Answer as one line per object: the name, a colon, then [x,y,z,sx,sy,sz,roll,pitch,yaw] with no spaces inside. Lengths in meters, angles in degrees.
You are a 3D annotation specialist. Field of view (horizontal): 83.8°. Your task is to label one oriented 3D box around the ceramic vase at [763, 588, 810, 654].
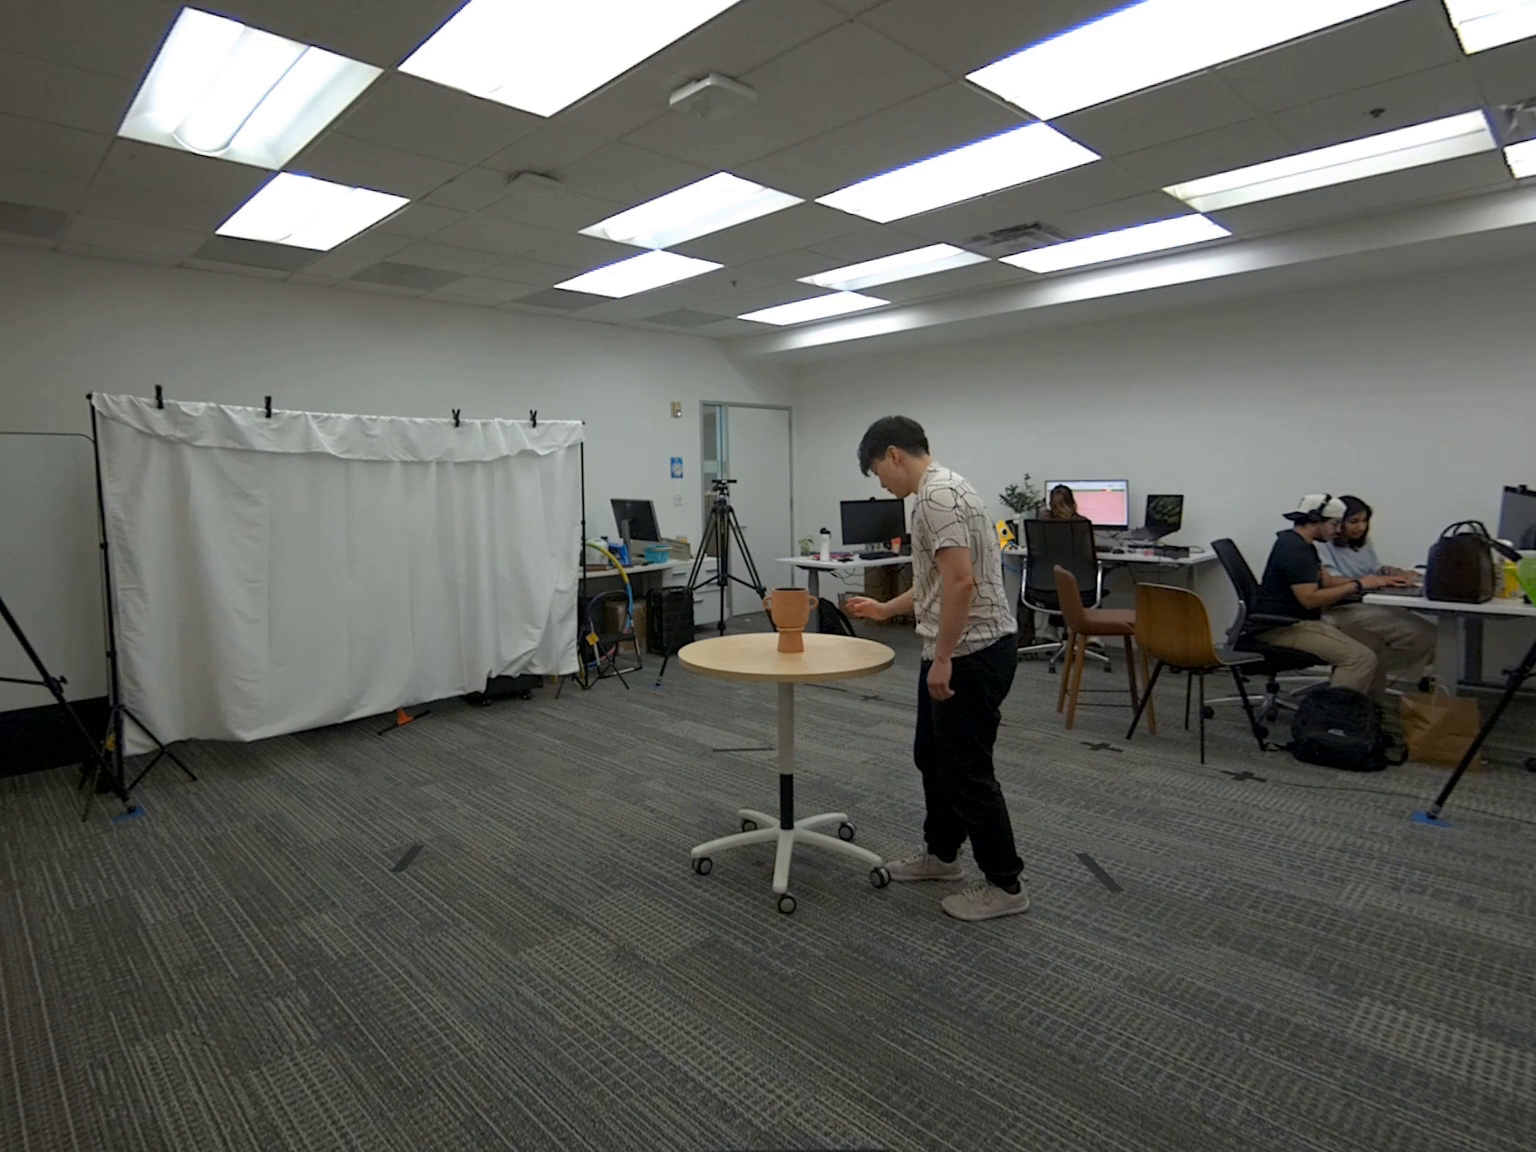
ceramic vase: [0.085,0.160,3.056,0.163,0.219,0.131,2,3,41]
